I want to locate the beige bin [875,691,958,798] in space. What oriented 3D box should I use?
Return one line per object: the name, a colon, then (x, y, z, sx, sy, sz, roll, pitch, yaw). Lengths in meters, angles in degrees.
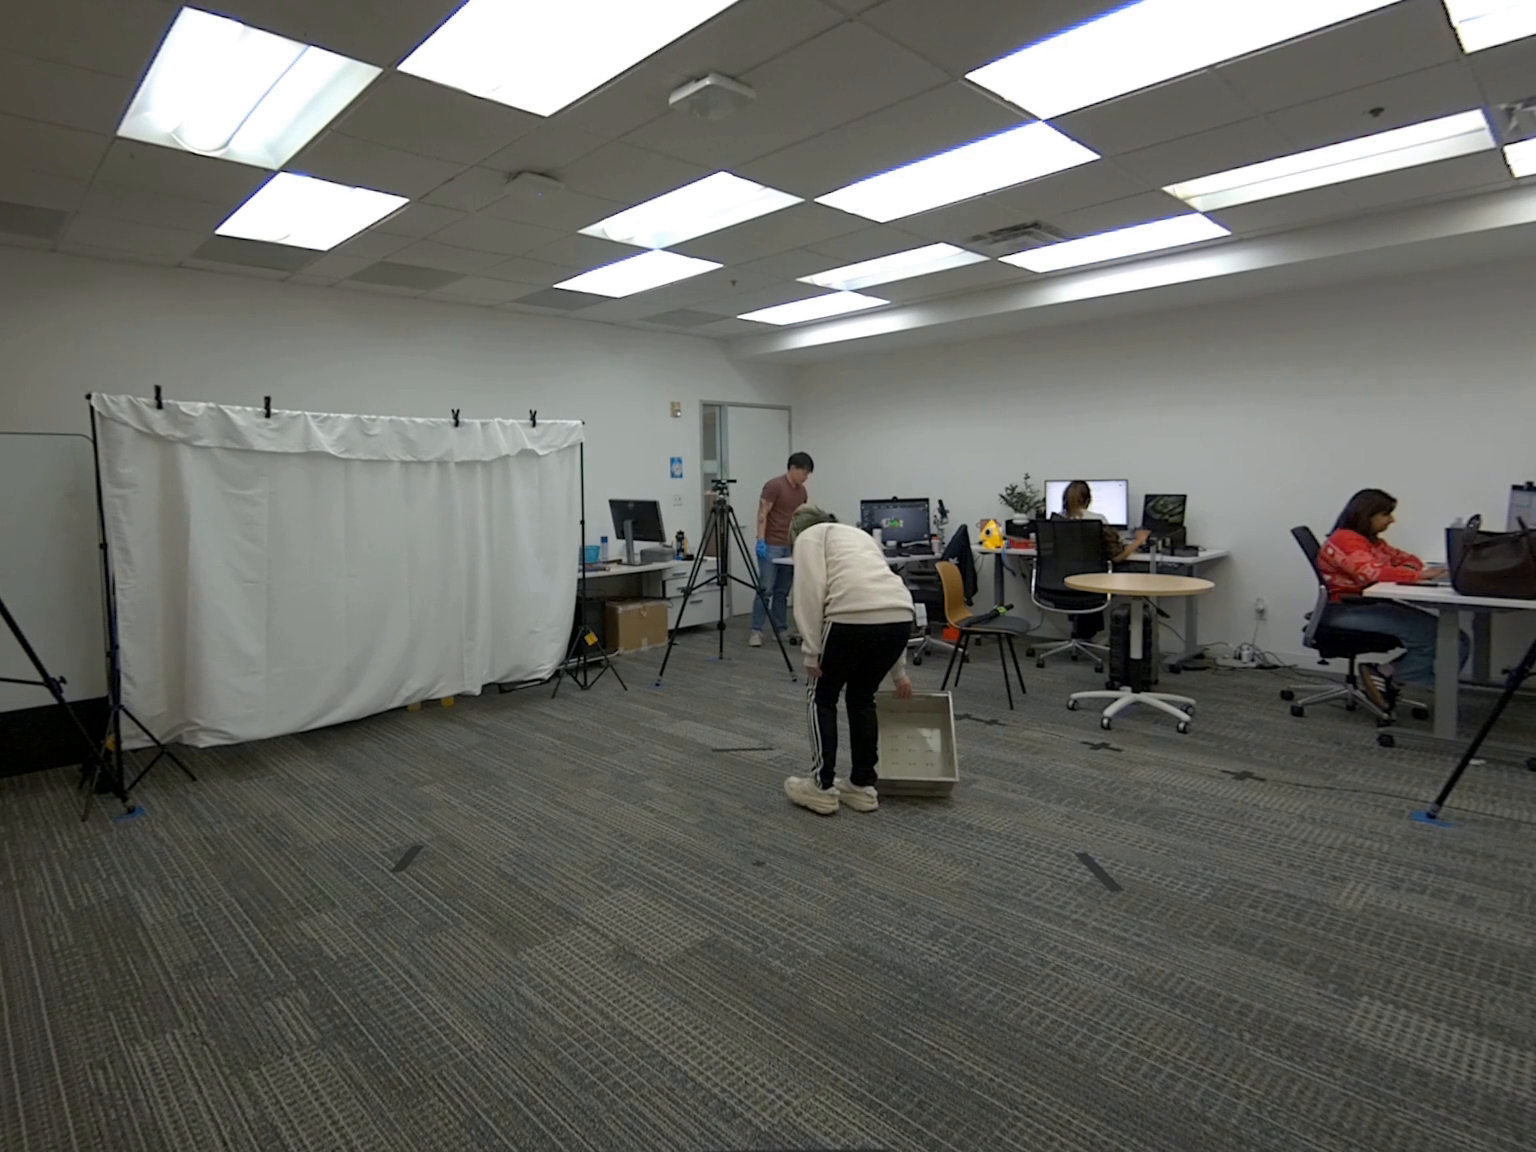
beige bin: (0.631, 0.747, 3.814, 0.380, 0.432, 0.183, -1, -39, 6)
